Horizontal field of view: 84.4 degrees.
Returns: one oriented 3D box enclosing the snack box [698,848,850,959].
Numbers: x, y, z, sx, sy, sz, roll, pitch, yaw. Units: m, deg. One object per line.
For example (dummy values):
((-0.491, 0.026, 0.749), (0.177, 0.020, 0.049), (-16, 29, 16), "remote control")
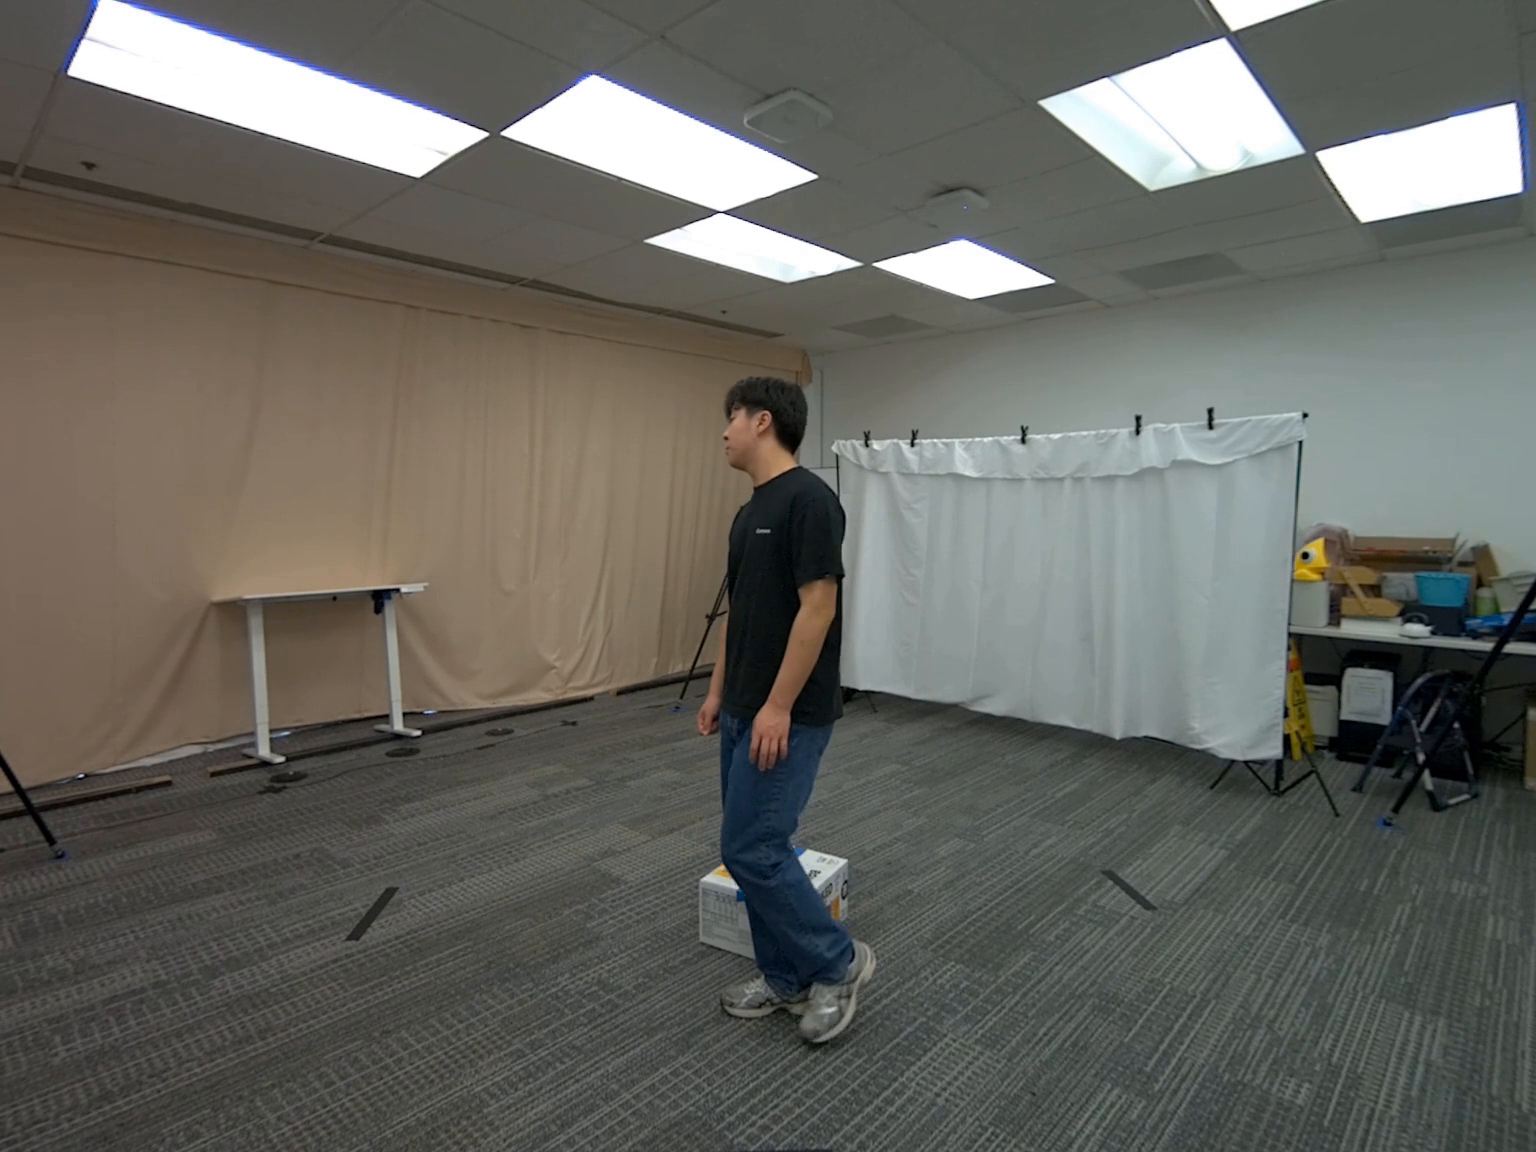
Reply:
((0.029, 1.061, 2.752), (0.350, 0.205, 0.394), (2, 5, 30), "snack box")
